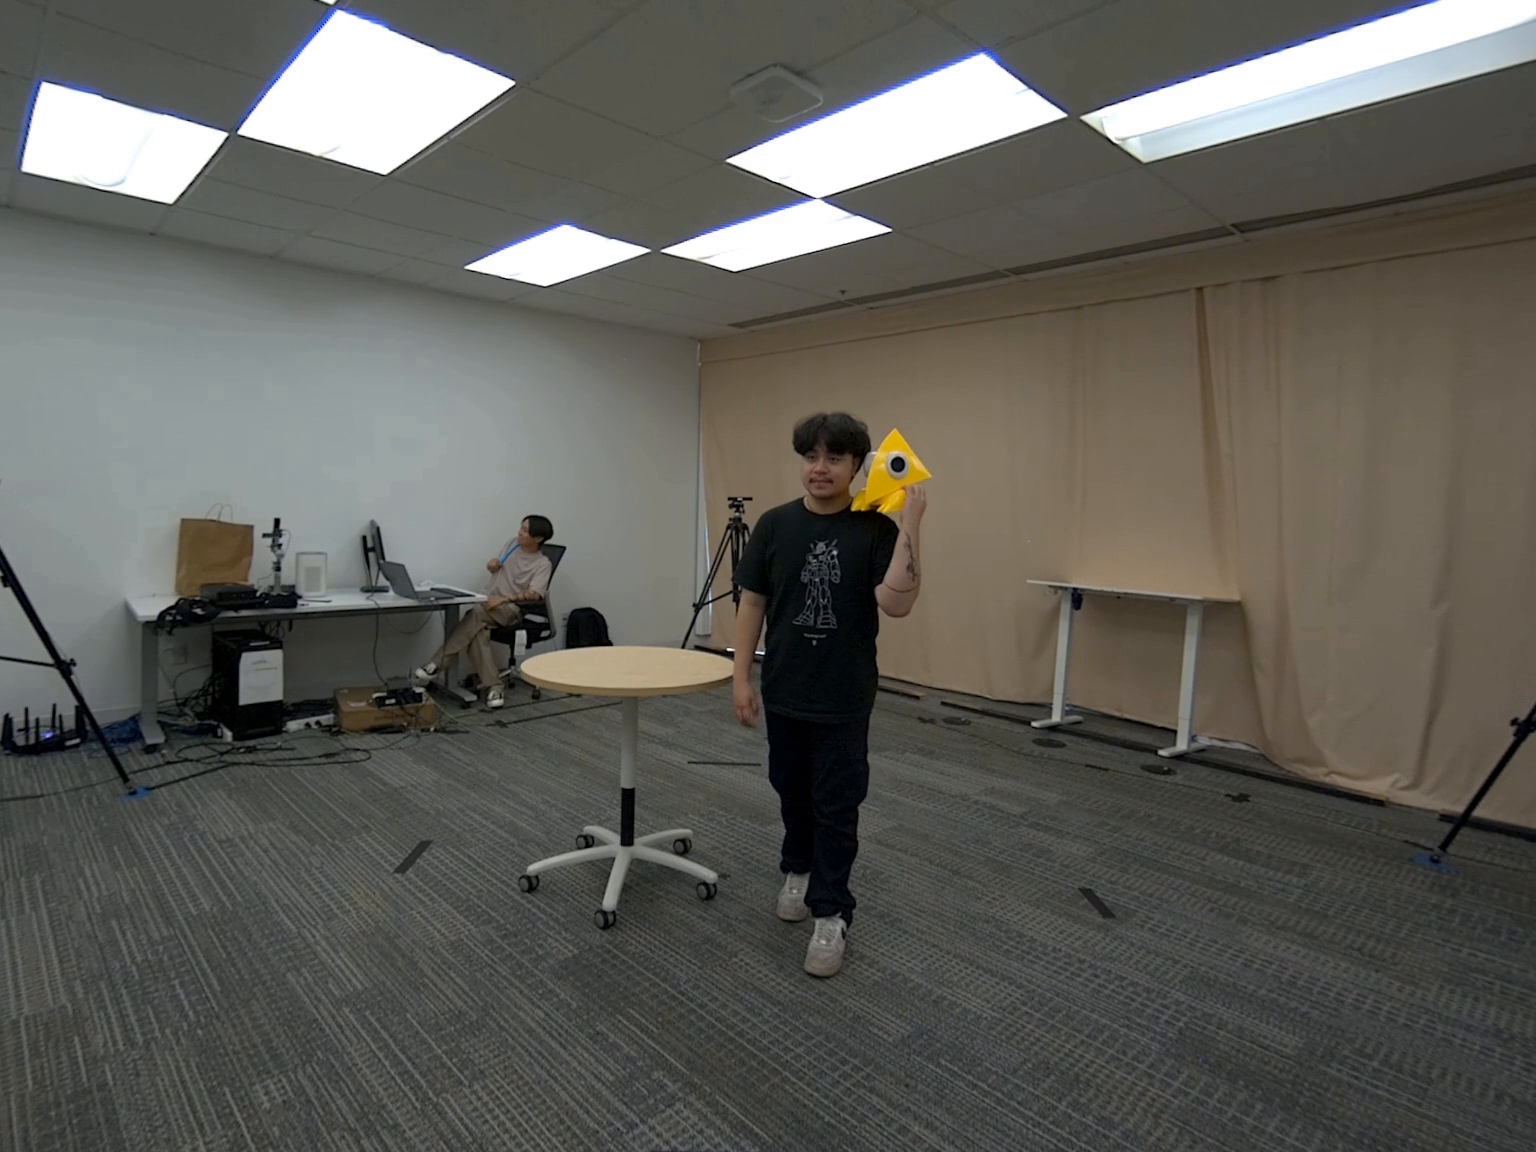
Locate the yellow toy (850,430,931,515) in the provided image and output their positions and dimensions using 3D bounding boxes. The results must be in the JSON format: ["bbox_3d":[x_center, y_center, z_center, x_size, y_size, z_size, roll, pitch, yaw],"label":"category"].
[{"bbox_3d":[0.343,-0.326,2.537,0.189,0.229,0.210,-13,12,-37],"label":"yellow toy"}]
